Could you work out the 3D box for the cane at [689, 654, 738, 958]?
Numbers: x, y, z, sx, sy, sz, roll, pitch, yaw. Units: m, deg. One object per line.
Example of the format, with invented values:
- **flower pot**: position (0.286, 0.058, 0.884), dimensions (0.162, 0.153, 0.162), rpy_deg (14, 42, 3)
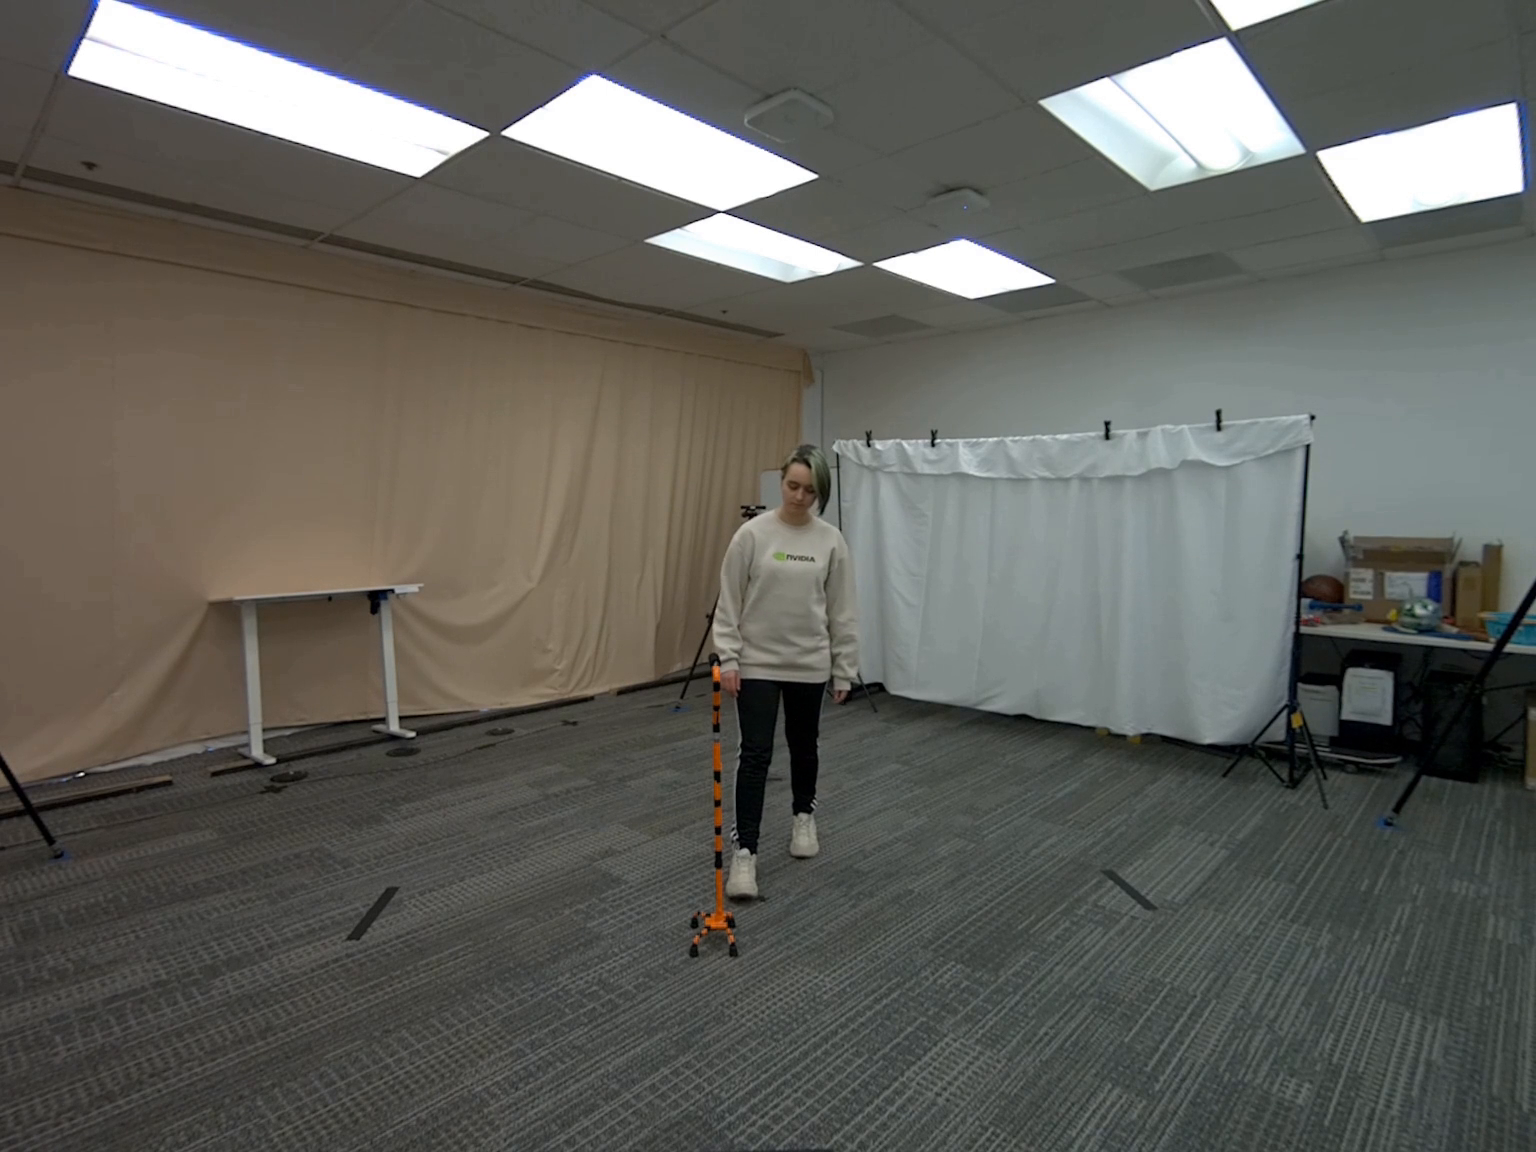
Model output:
- **cane**: position (-0.170, 0.719, 2.669), dimensions (0.151, 0.905, 0.207), rpy_deg (0, 4, -3)
